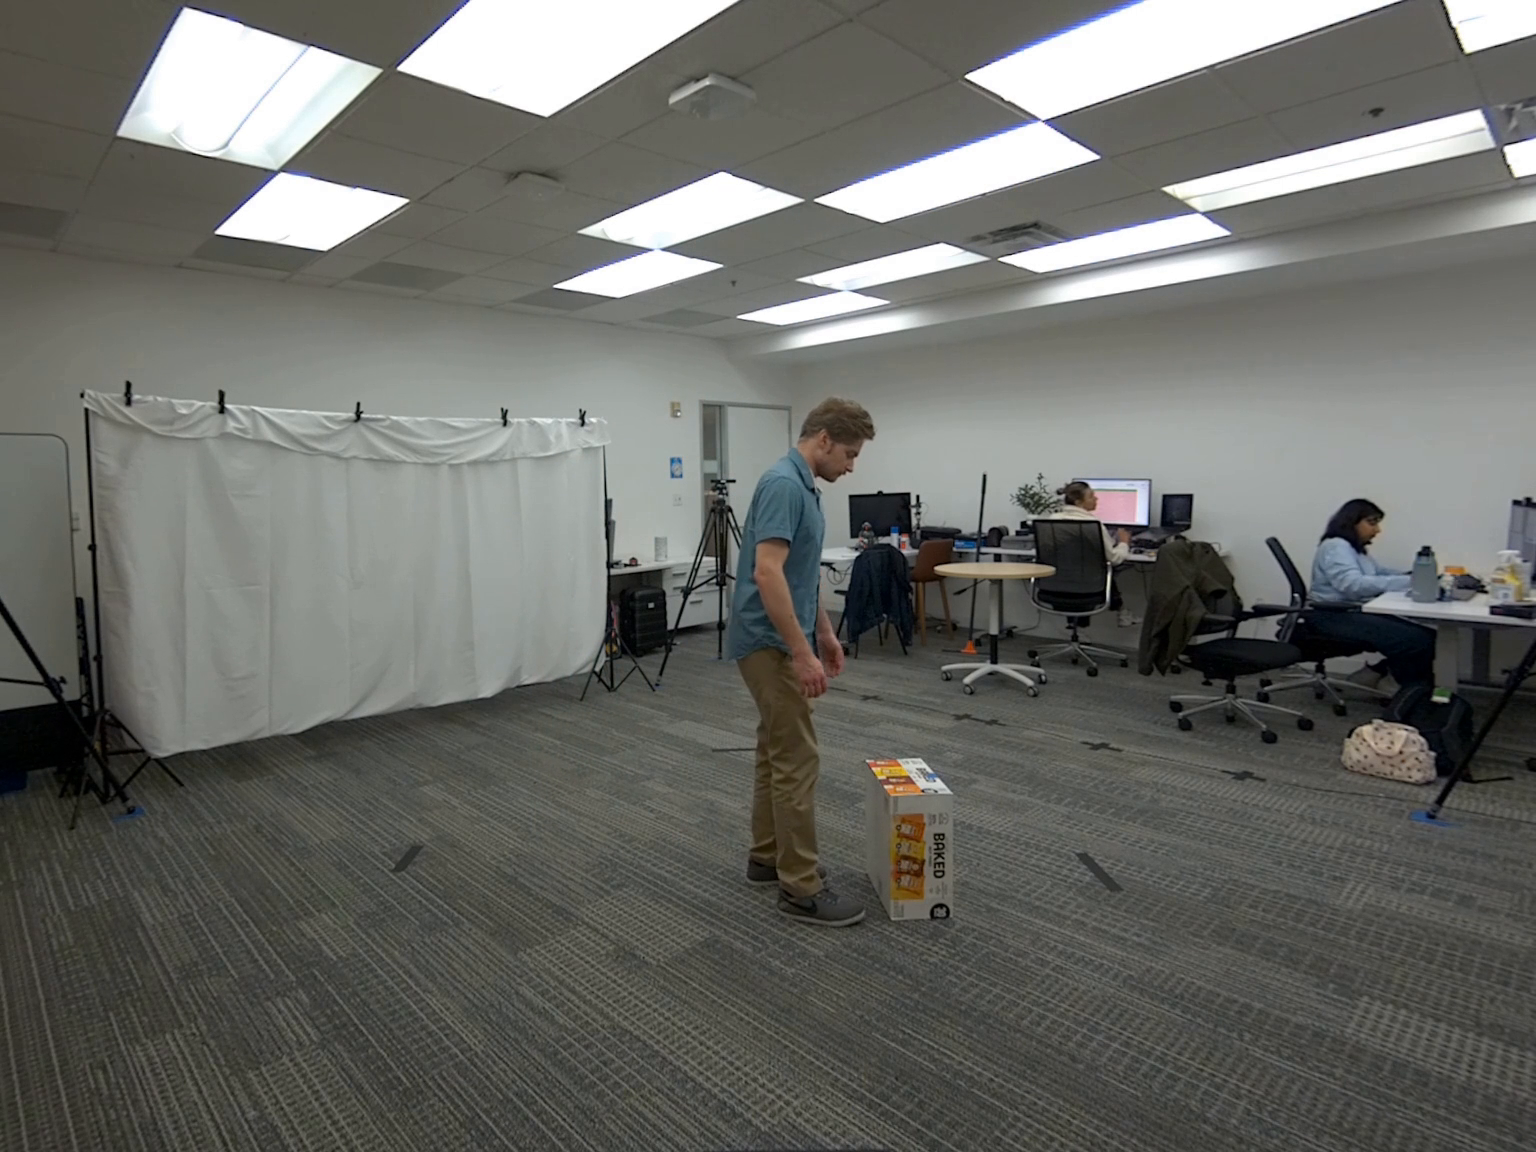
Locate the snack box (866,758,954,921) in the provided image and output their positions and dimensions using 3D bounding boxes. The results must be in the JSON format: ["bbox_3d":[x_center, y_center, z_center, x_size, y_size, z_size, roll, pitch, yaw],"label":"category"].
[{"bbox_3d":[0.461,0.867,2.849,0.205,0.403,0.343,0,5,-6],"label":"snack box"}]
